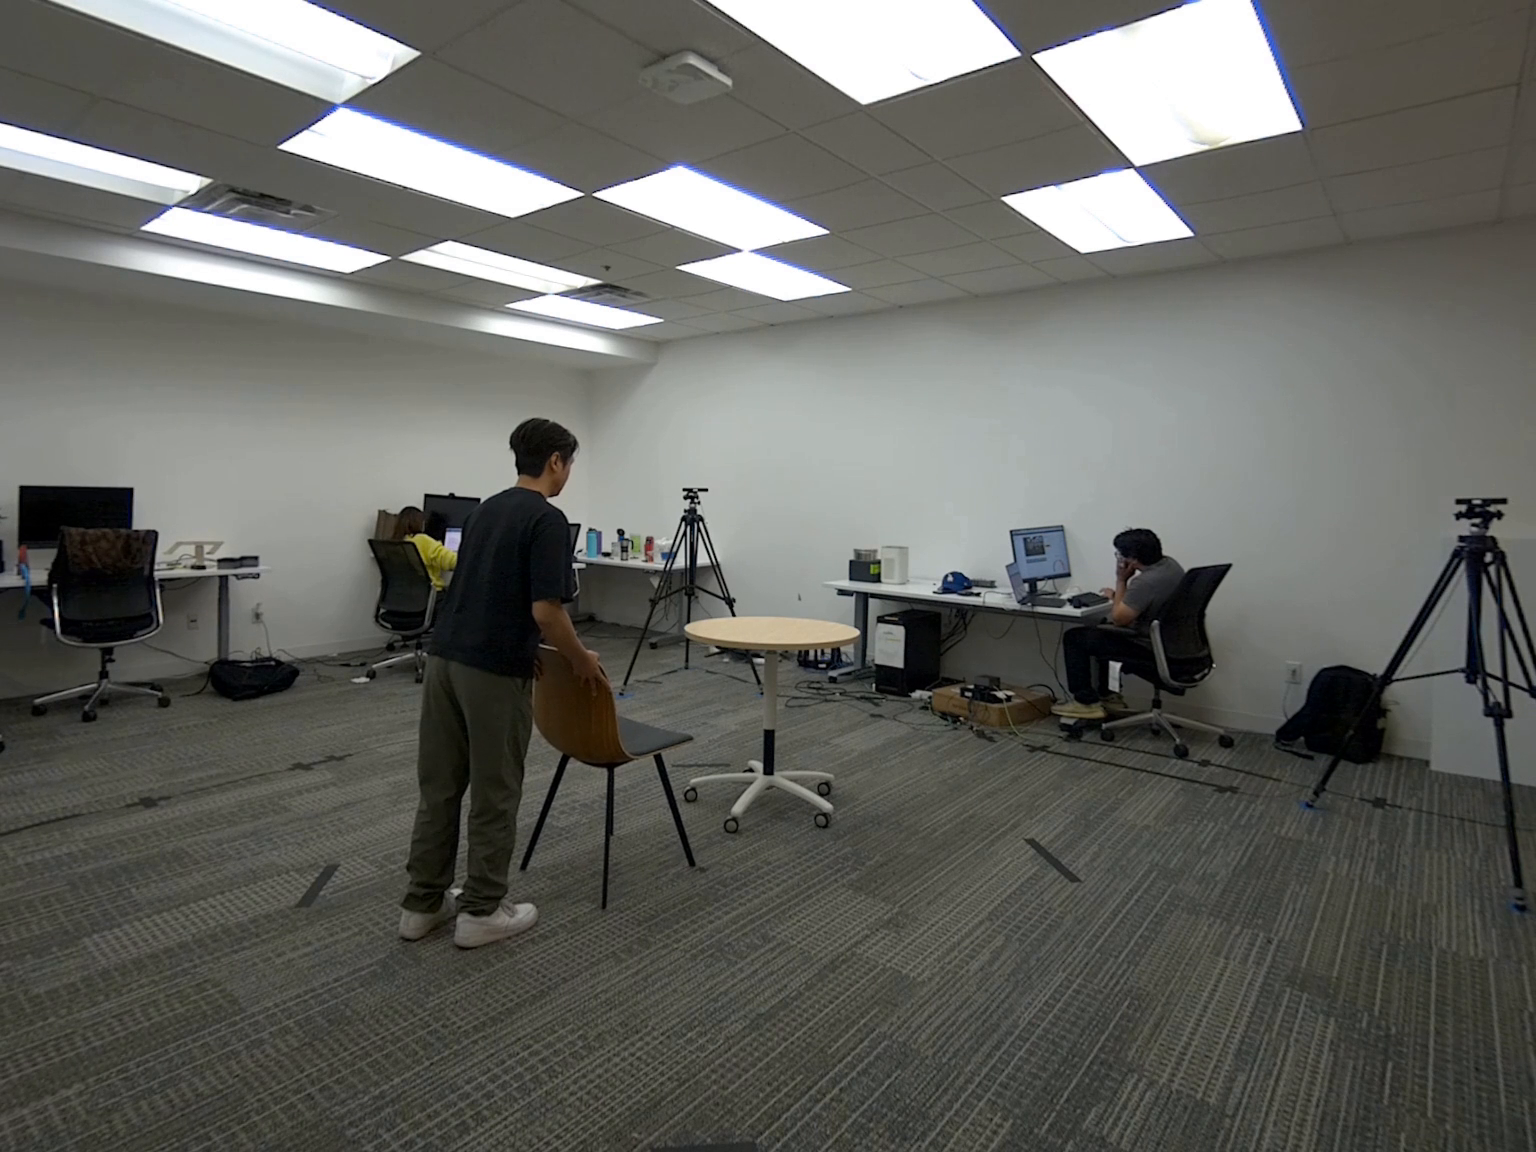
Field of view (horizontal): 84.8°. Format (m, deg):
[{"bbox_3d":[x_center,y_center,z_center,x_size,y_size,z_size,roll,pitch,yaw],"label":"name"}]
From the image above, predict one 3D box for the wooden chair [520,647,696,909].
[{"bbox_3d":[-0.577,0.637,3.086,0.494,0.872,0.509,3,8,38],"label":"wooden chair"}]
